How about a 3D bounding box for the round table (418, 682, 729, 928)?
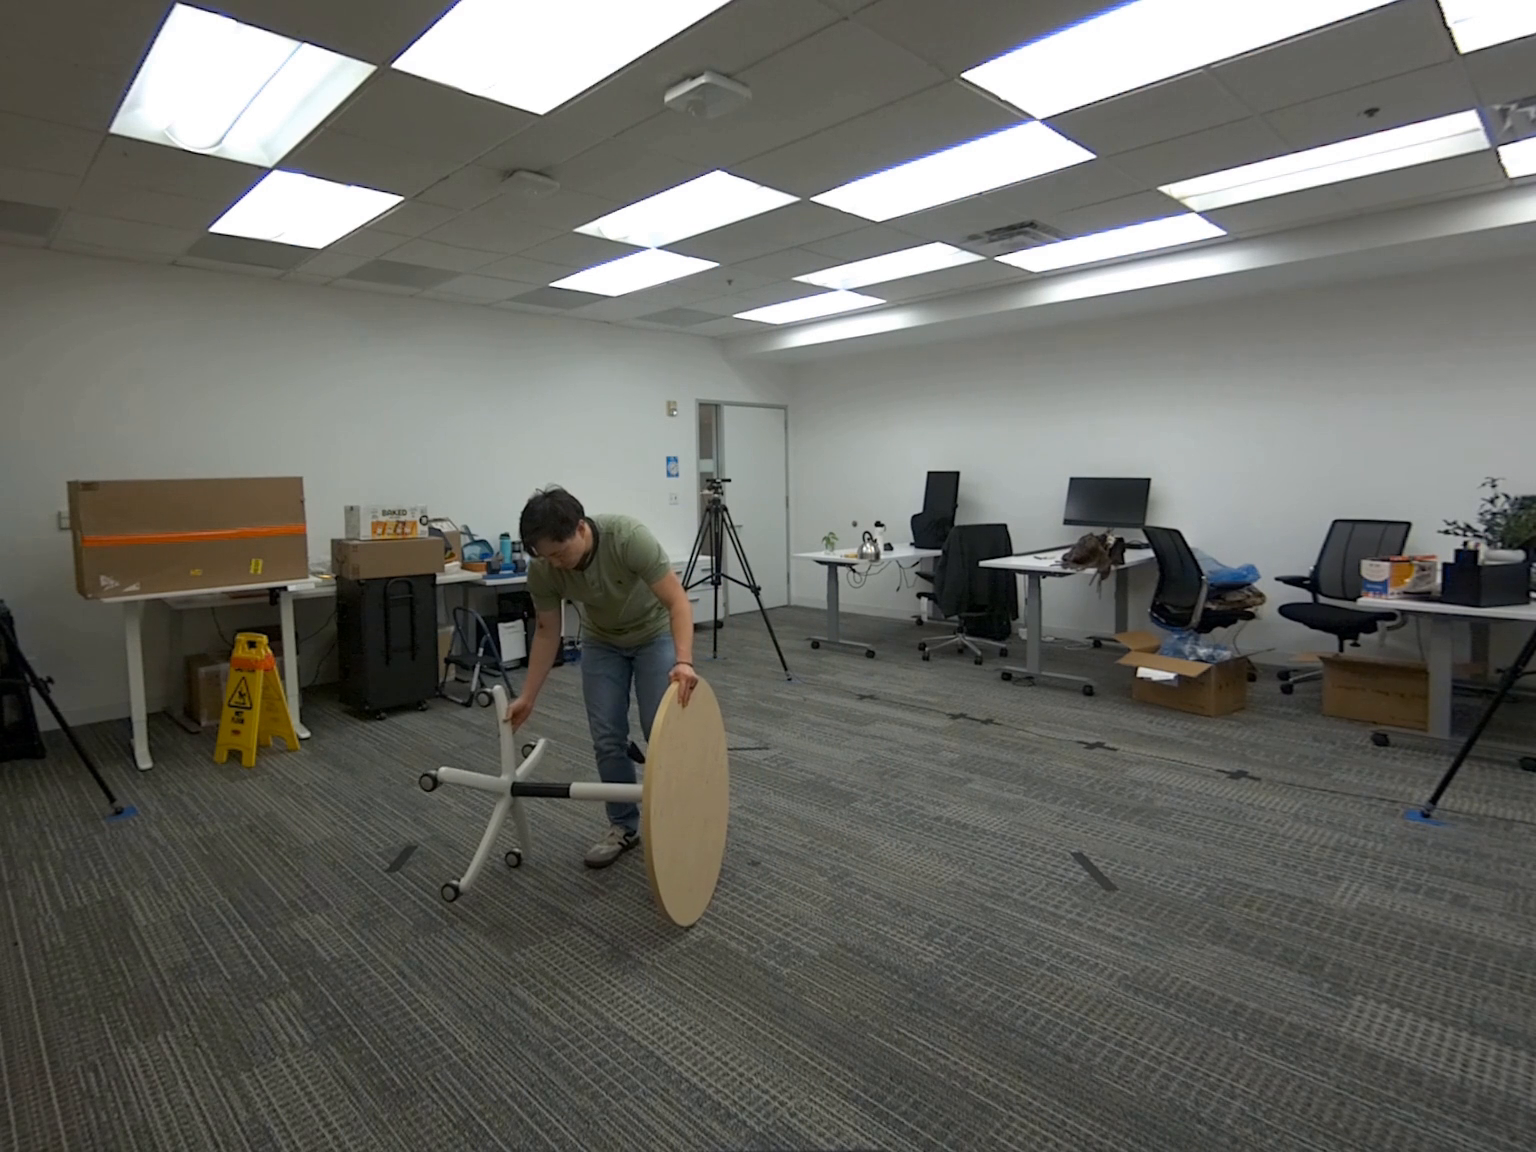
[{"bbox_3d":[-0.622,0.728,2.858,0.805,0.762,0.755,-4,4,15],"label":"round table"}]
